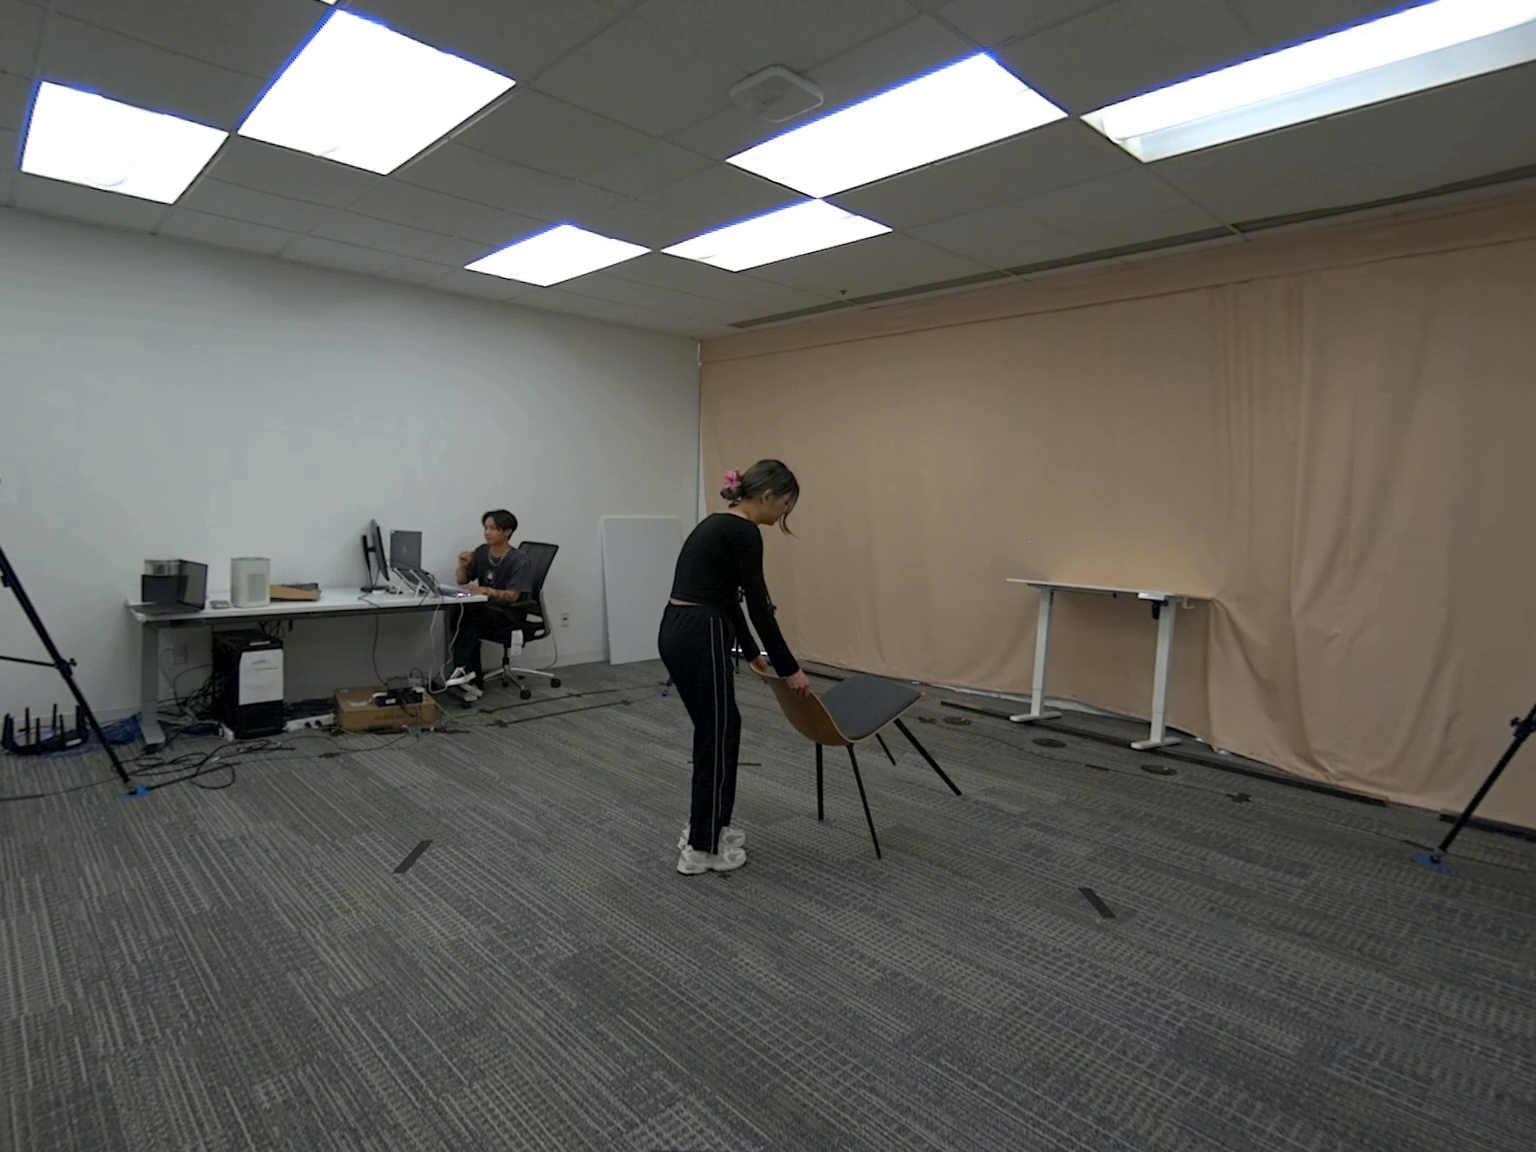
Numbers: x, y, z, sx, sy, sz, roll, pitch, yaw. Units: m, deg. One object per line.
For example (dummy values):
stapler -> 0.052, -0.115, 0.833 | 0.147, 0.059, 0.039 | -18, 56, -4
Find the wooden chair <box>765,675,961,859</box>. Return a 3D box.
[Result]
wooden chair -> 0.342, 0.601, 3.459 | 0.520, 0.864, 0.488 | -34, 17, -21
